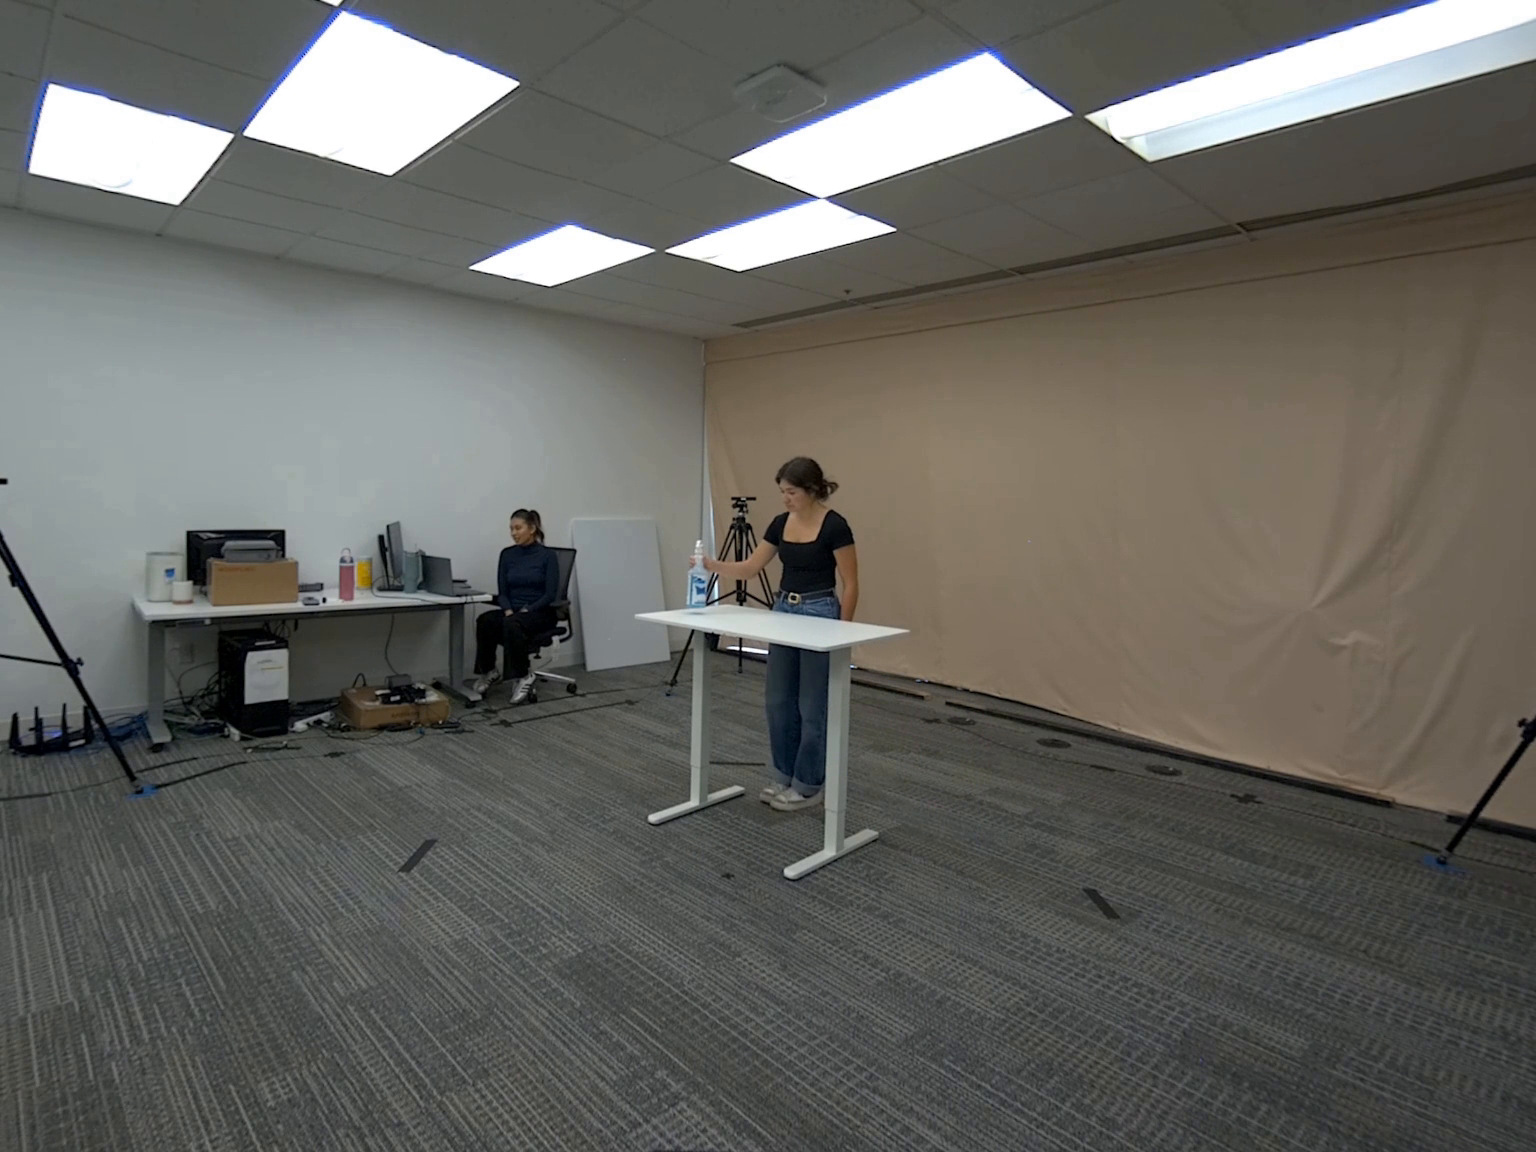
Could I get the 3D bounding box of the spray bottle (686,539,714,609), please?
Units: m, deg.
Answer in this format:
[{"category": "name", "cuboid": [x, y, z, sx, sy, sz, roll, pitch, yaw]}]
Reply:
[{"category": "spray bottle", "cuboid": [-0.320, -0.008, 3.703, 0.089, 0.297, 0.088, 3, 0, 27]}]
